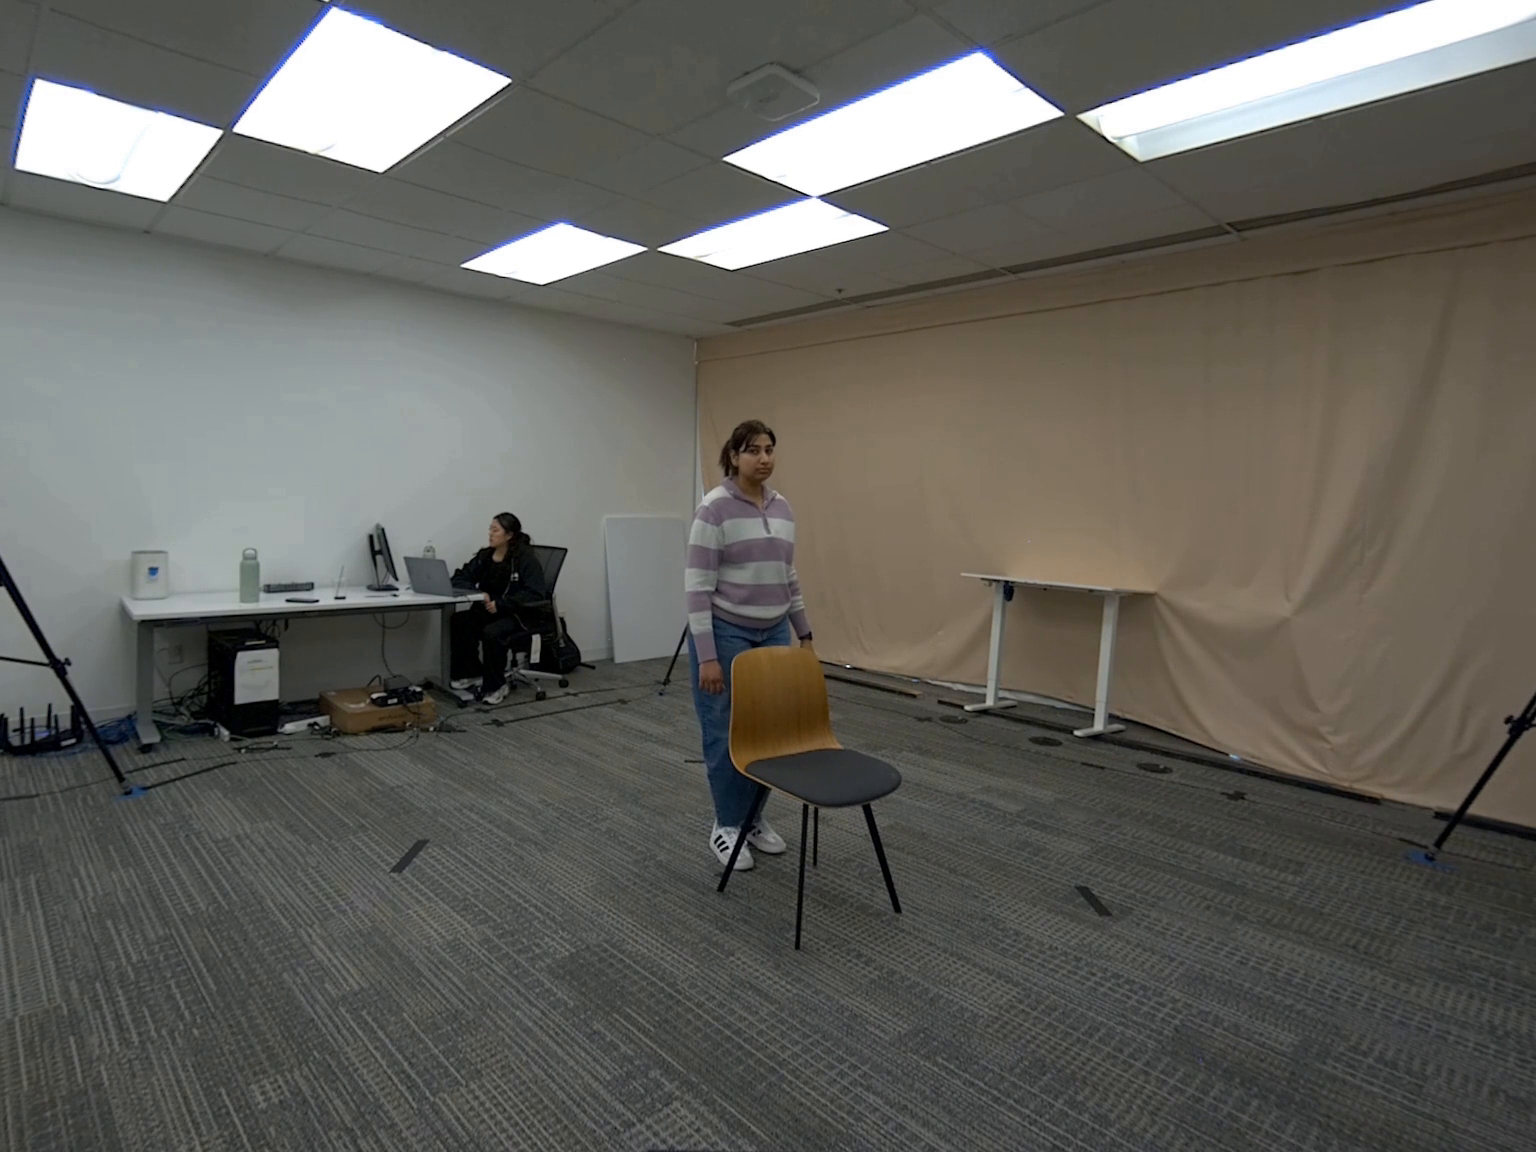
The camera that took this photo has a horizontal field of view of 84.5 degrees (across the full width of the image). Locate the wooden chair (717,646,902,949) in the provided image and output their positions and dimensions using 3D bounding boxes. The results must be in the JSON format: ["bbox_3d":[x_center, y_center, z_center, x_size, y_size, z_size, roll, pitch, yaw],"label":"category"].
[{"bbox_3d":[0.150,0.707,2.866,0.467,0.877,0.535,-1,0,-36],"label":"wooden chair"}]
